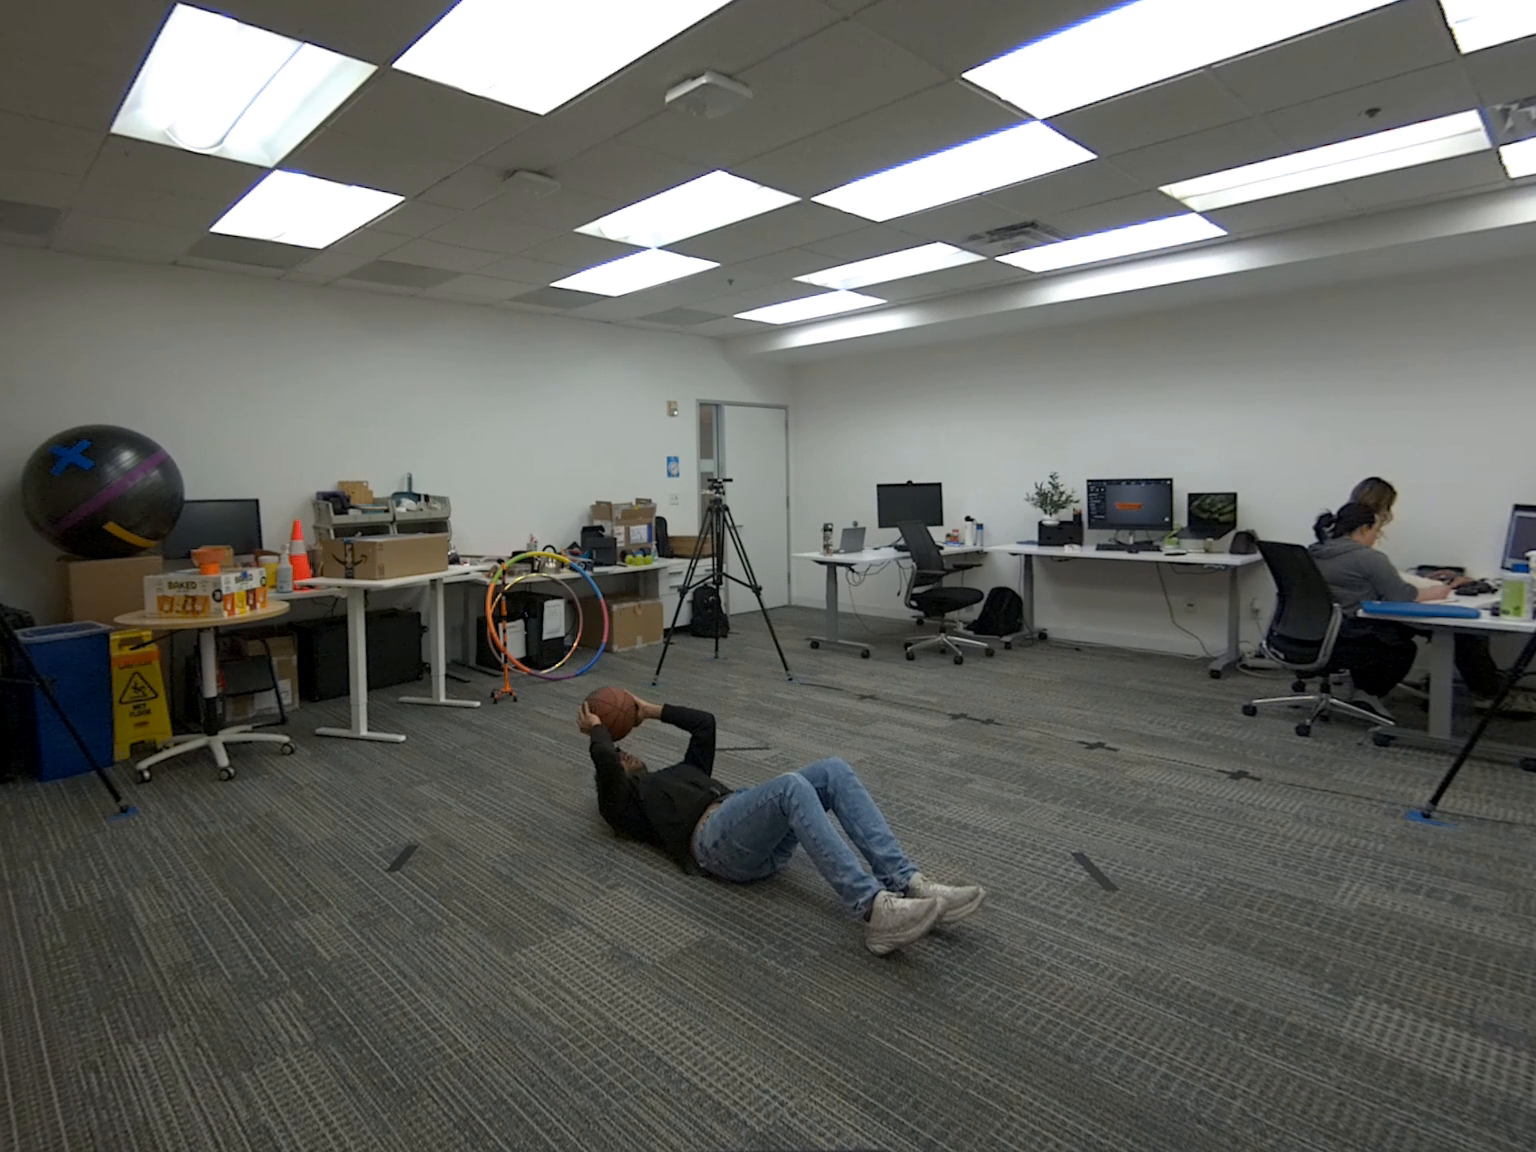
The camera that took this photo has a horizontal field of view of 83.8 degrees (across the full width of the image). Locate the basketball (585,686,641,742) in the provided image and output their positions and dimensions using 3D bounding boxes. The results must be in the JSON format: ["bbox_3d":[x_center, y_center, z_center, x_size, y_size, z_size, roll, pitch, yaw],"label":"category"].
[{"bbox_3d":[-0.673,0.587,3.643,0.236,0.235,0.237,-1,5,-2],"label":"basketball"}]
